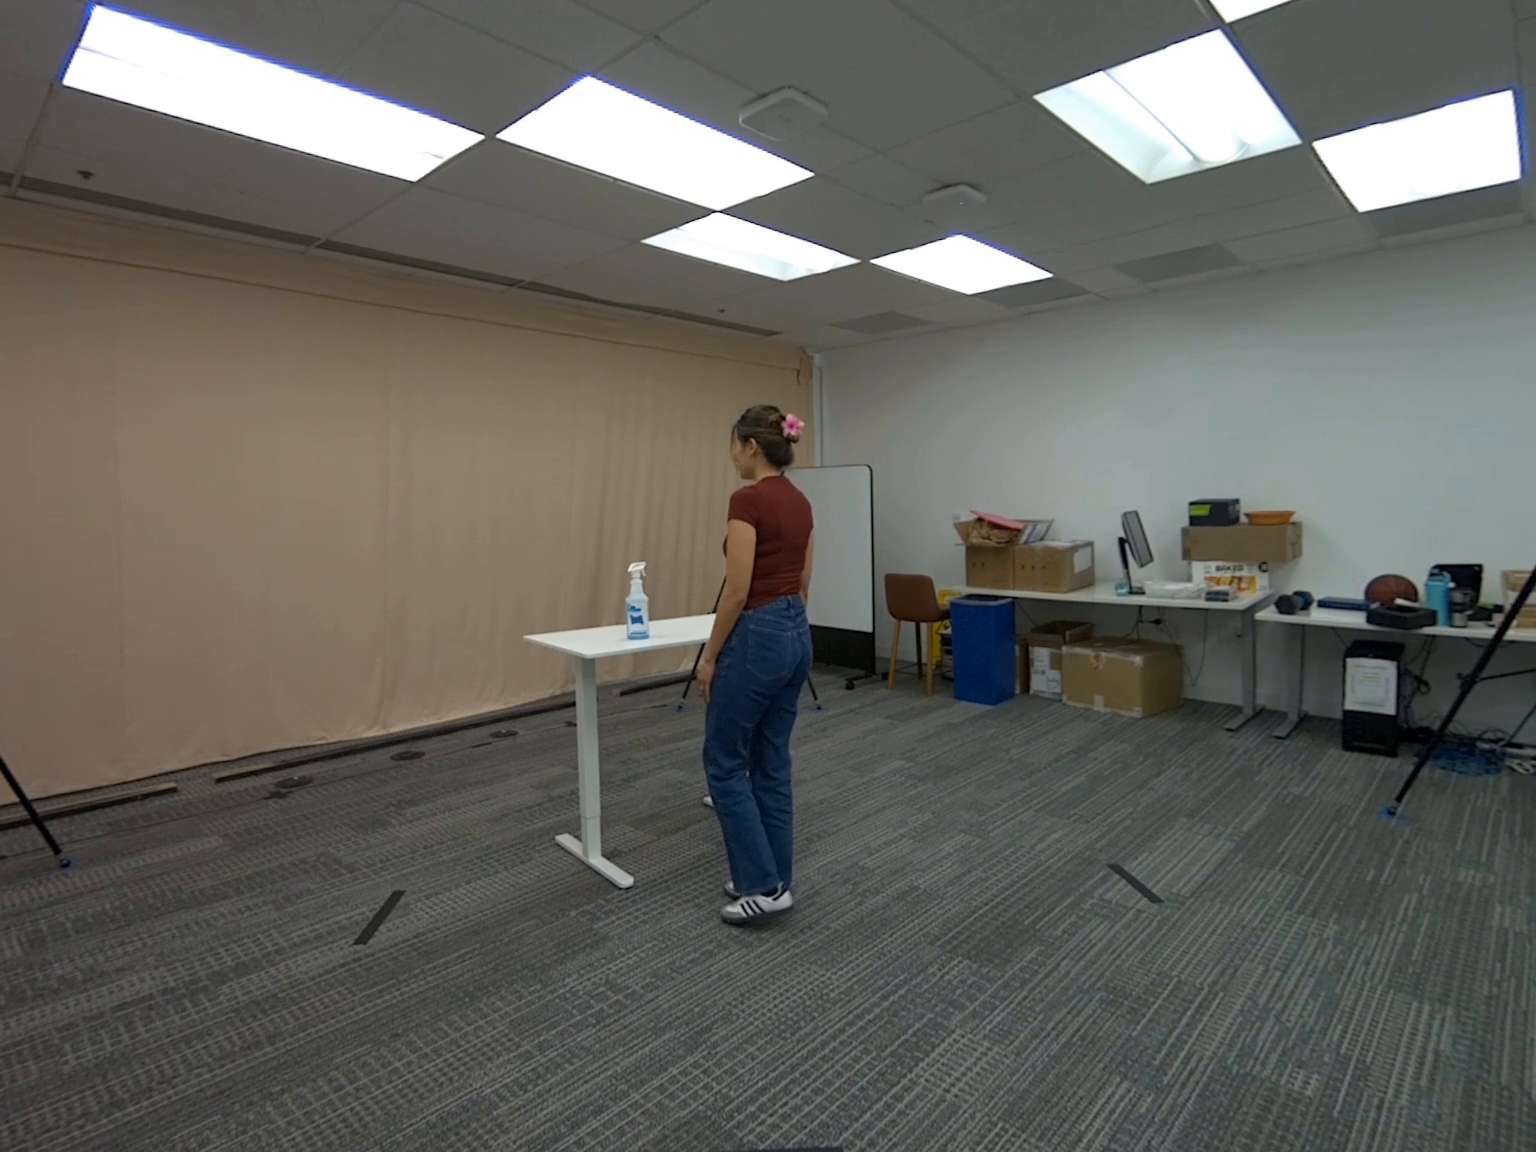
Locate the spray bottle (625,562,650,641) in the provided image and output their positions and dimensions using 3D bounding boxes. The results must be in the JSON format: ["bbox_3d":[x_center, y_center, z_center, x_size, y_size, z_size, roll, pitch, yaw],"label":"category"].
[{"bbox_3d":[-0.508,0.099,3.294,0.088,0.297,0.089,-3,3,-26],"label":"spray bottle"}]
